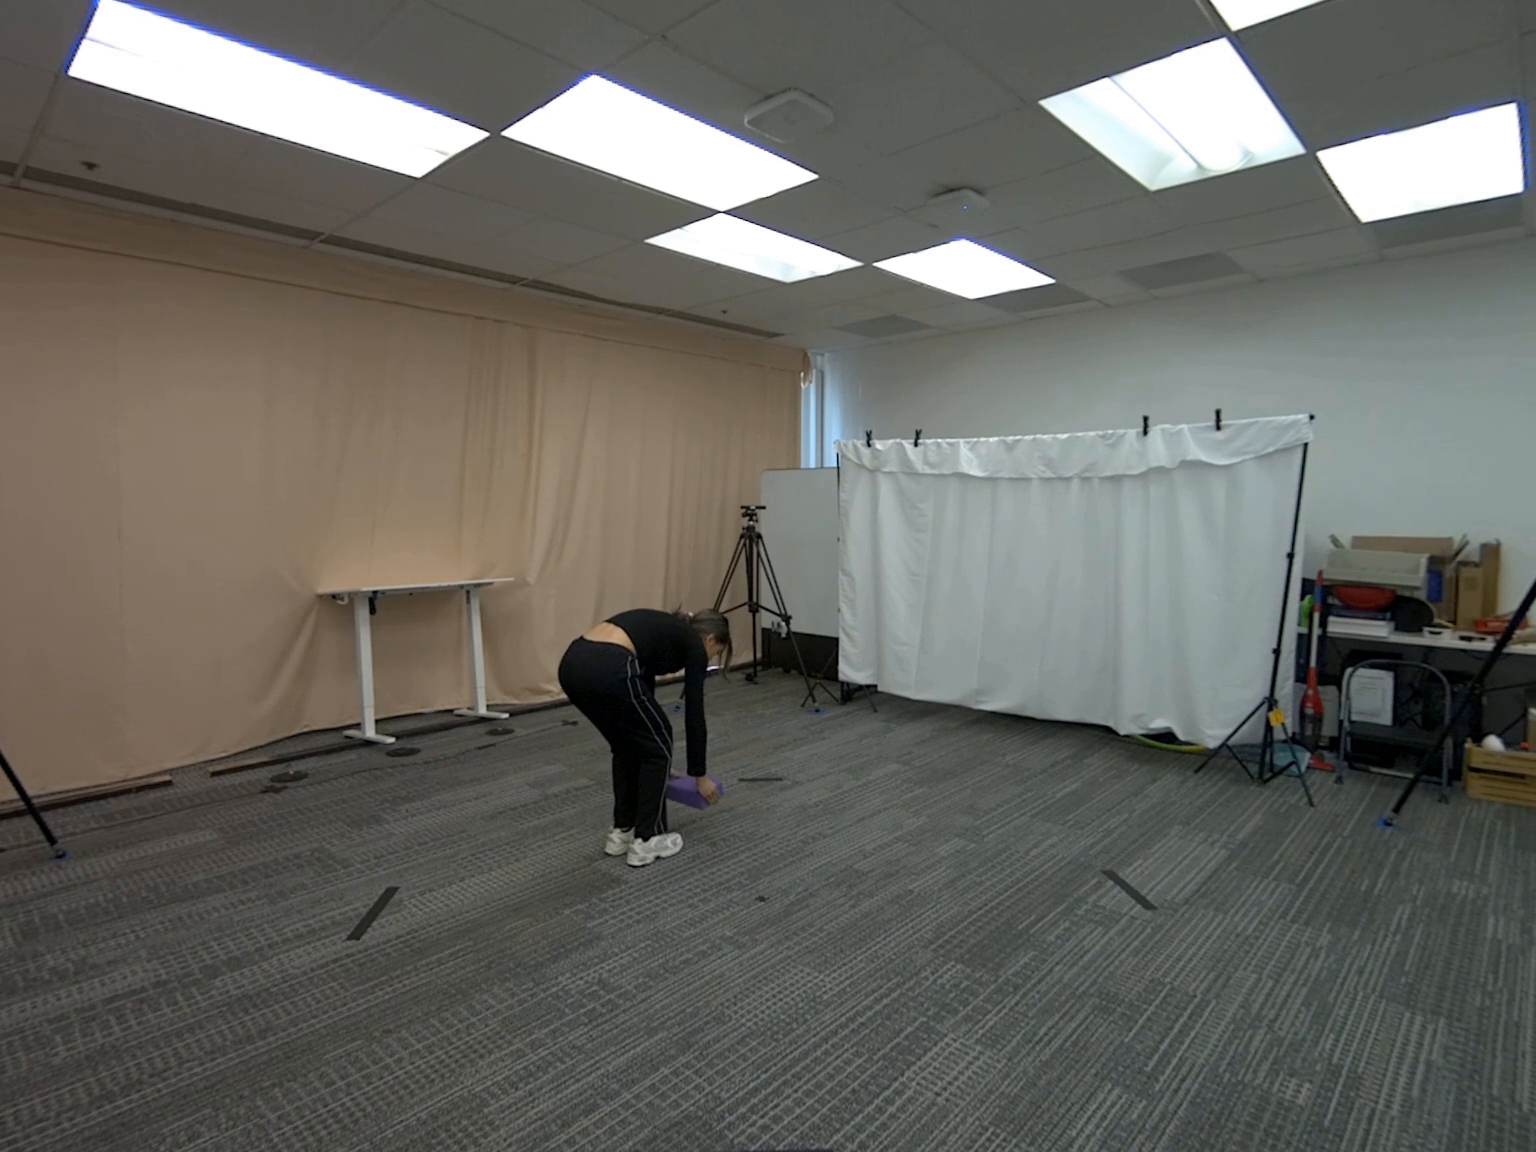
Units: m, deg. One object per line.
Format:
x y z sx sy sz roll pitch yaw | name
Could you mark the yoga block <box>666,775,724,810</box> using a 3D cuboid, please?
-0.318 0.902 3.584 0.237 0.076 0.145 7 18 40 | yoga block
